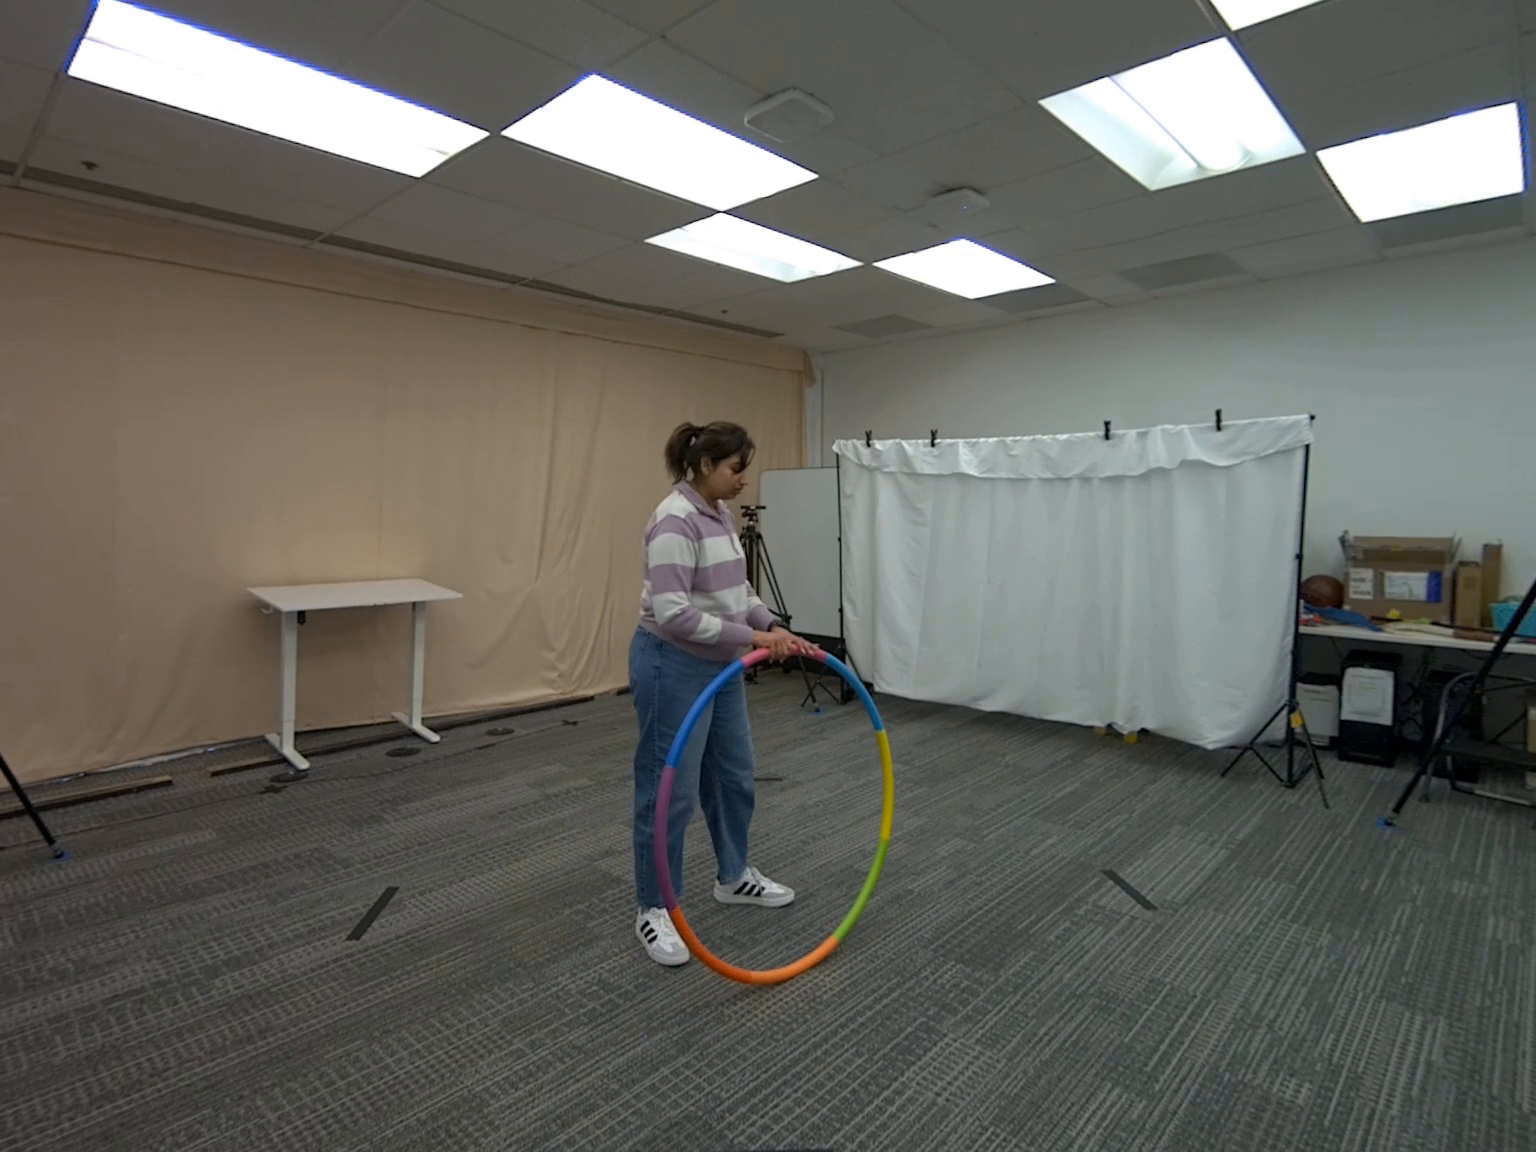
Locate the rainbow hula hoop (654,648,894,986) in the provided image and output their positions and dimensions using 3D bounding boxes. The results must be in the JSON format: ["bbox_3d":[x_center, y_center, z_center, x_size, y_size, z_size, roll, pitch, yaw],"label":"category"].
[{"bbox_3d":[0.069,0.698,2.533,0.955,0.986,0.053,-3,-2,-41],"label":"rainbow hula hoop"}]
